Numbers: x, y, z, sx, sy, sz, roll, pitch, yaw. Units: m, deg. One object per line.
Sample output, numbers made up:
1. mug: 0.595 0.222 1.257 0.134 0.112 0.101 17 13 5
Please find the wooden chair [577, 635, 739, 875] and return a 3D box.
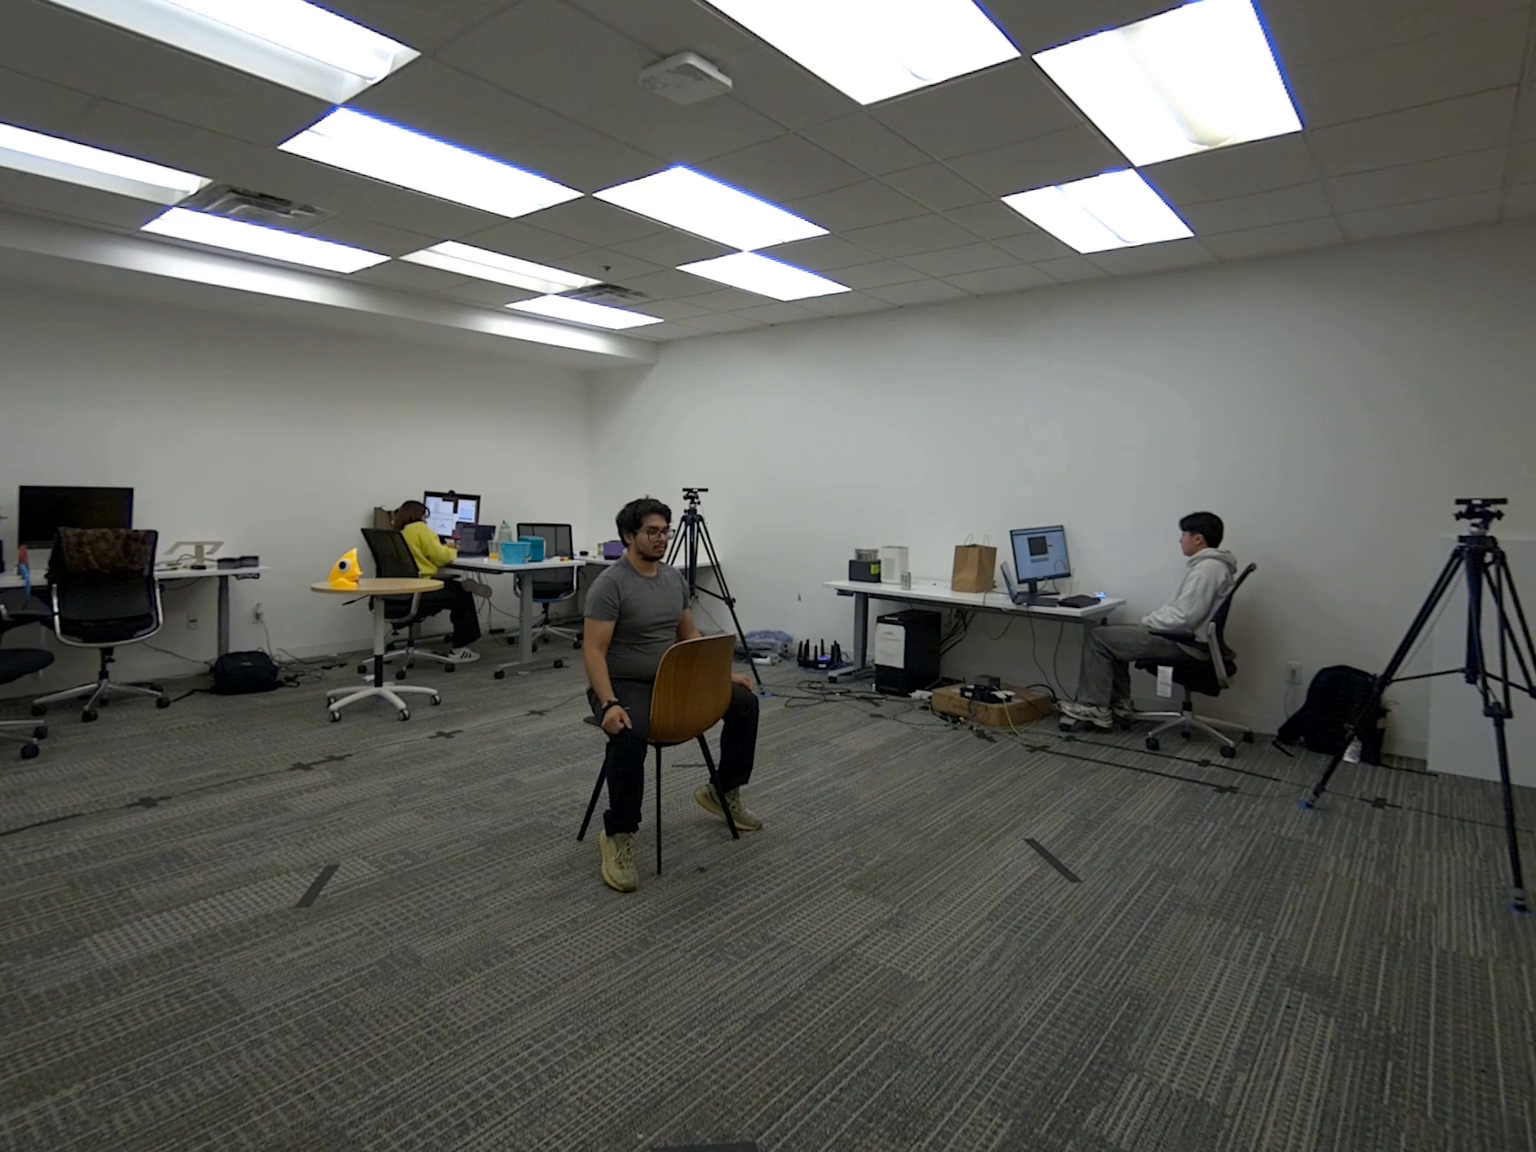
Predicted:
1. wooden chair: -0.444 0.621 3.349 0.542 0.873 0.464 9 8 39
